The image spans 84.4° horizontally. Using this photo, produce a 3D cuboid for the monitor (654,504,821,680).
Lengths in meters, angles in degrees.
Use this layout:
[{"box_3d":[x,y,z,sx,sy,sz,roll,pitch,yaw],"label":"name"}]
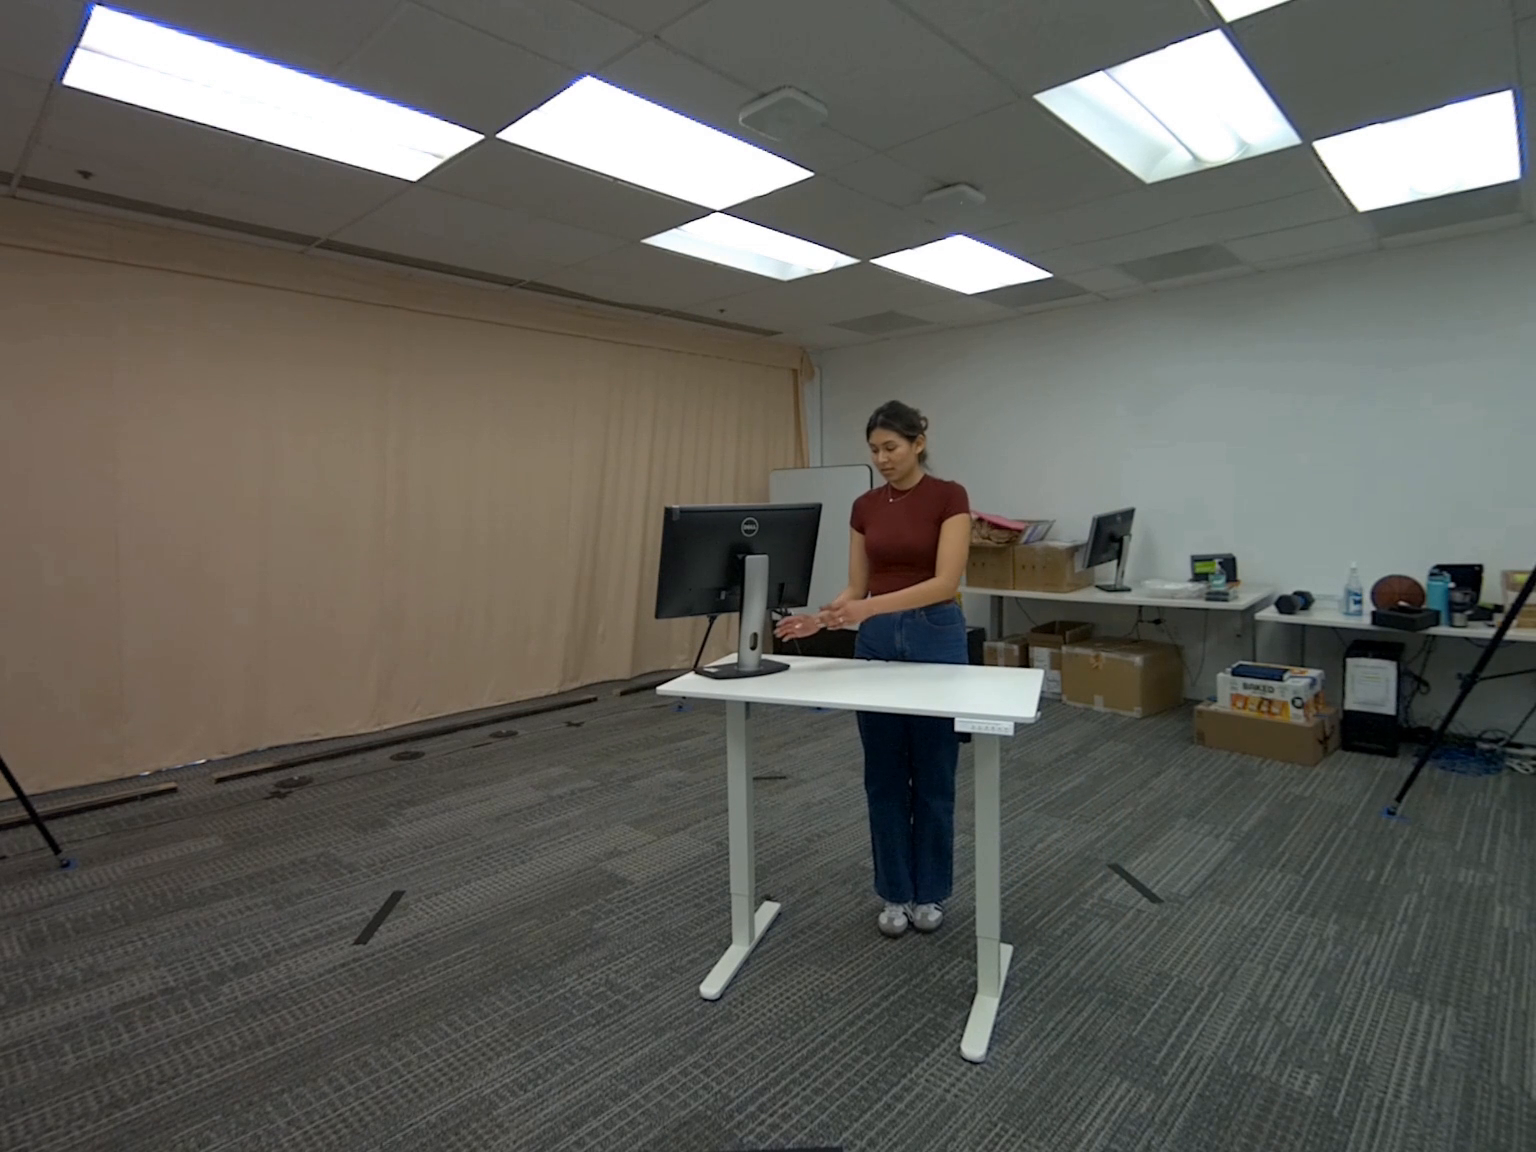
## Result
[{"box_3d":[-0.067,0.043,2.571,0.525,0.520,0.192,-3,7,-28],"label":"monitor"}]
